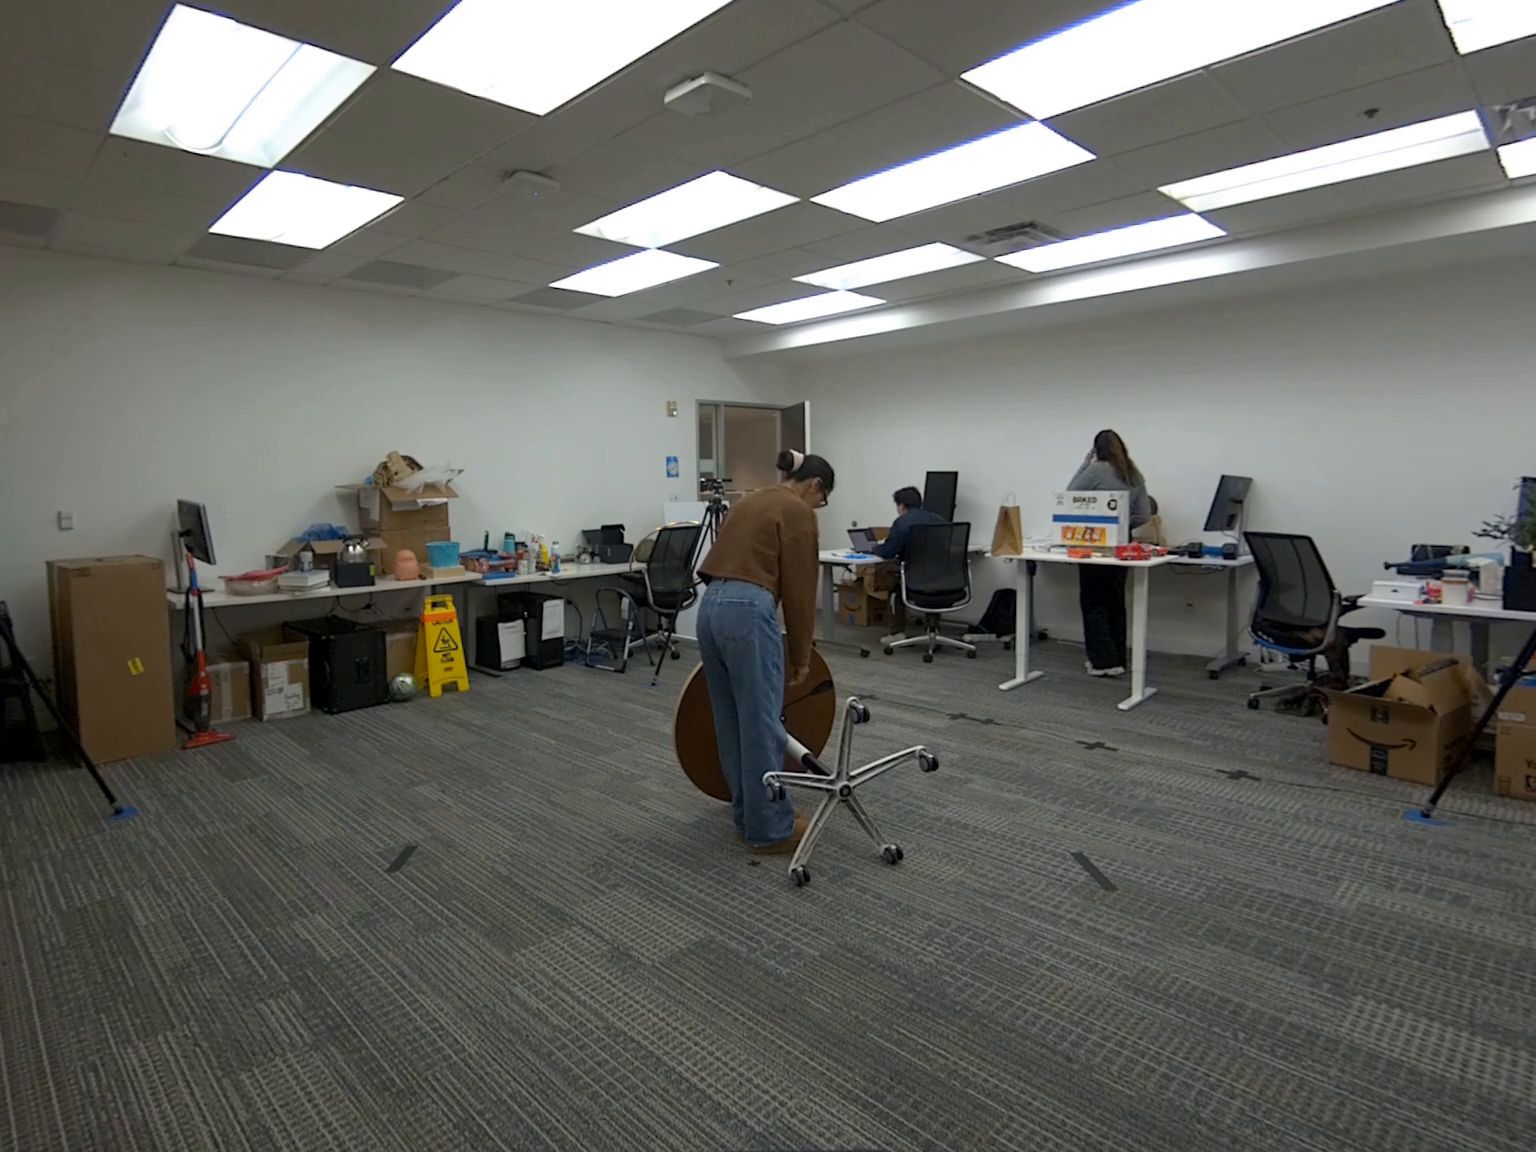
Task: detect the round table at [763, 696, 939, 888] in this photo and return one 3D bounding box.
[{"bbox_3d":[0.136,0.685,3.299,0.748,0.757,0.819,-3,13,-26],"label":"round table"}]
